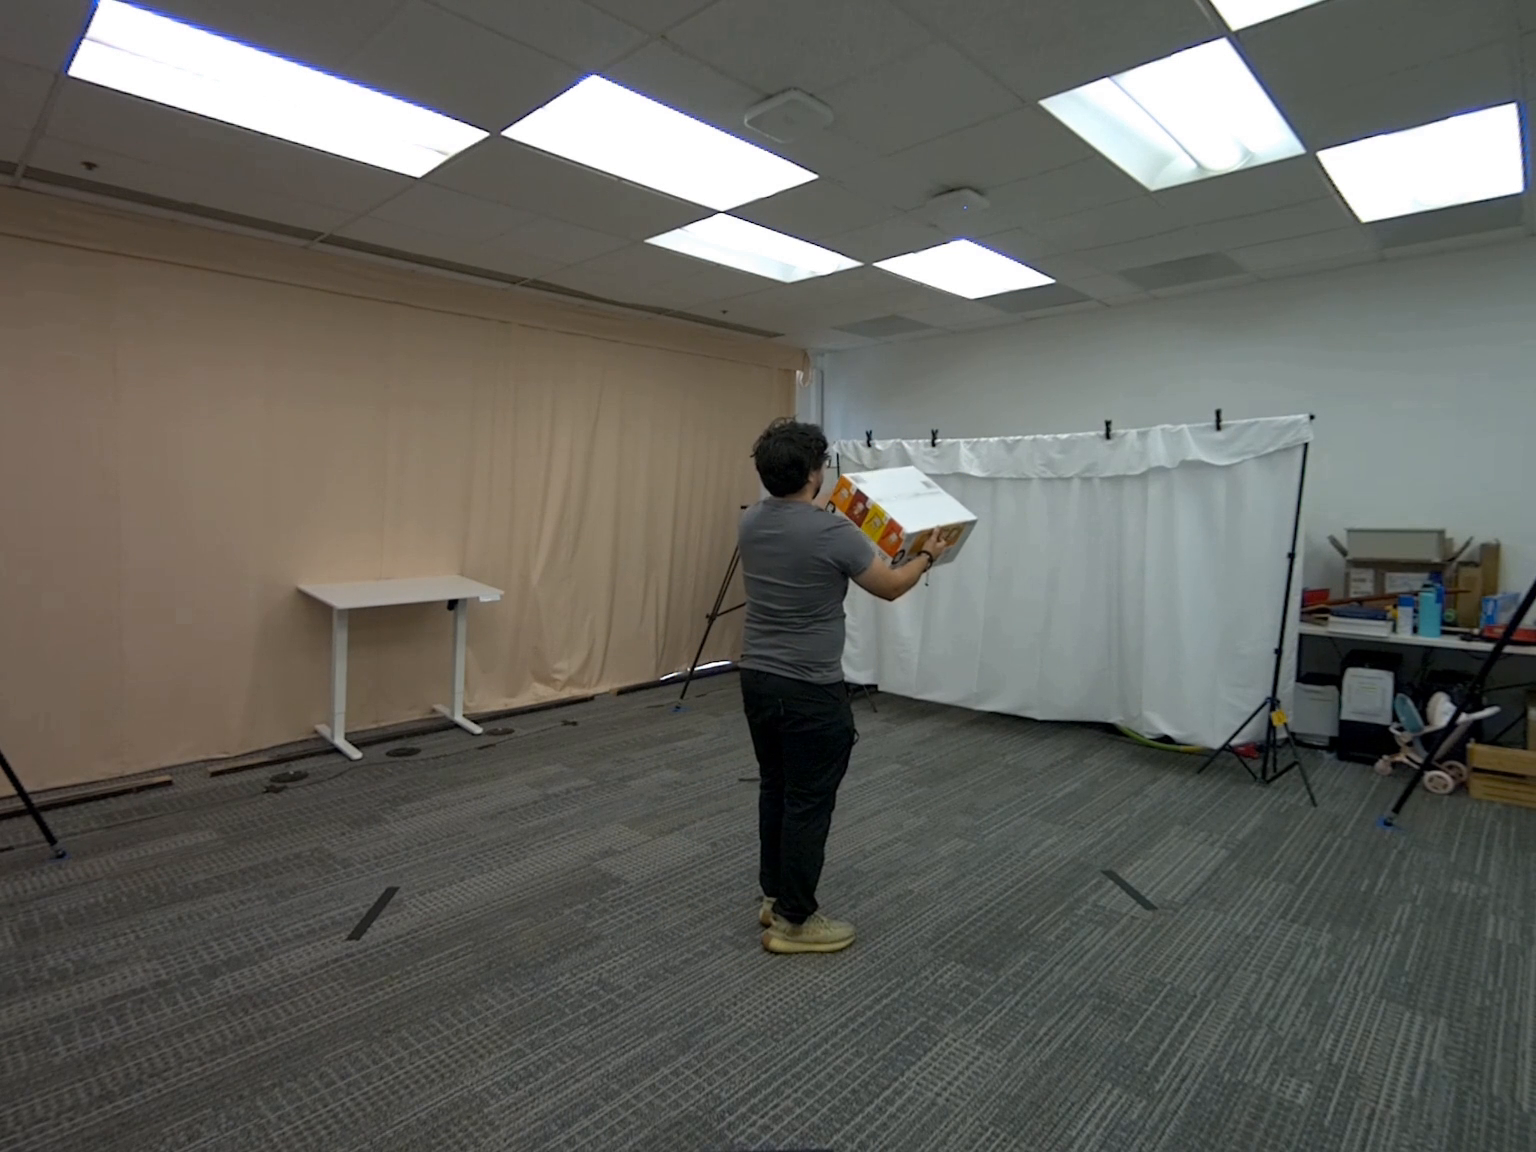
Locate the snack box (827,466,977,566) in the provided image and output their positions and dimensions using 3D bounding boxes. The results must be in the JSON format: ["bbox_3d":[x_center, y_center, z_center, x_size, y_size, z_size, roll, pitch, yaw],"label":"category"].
[{"bbox_3d":[0.472,-0.200,3.001,0.394,0.204,0.351,-13,47,-40],"label":"snack box"}]
